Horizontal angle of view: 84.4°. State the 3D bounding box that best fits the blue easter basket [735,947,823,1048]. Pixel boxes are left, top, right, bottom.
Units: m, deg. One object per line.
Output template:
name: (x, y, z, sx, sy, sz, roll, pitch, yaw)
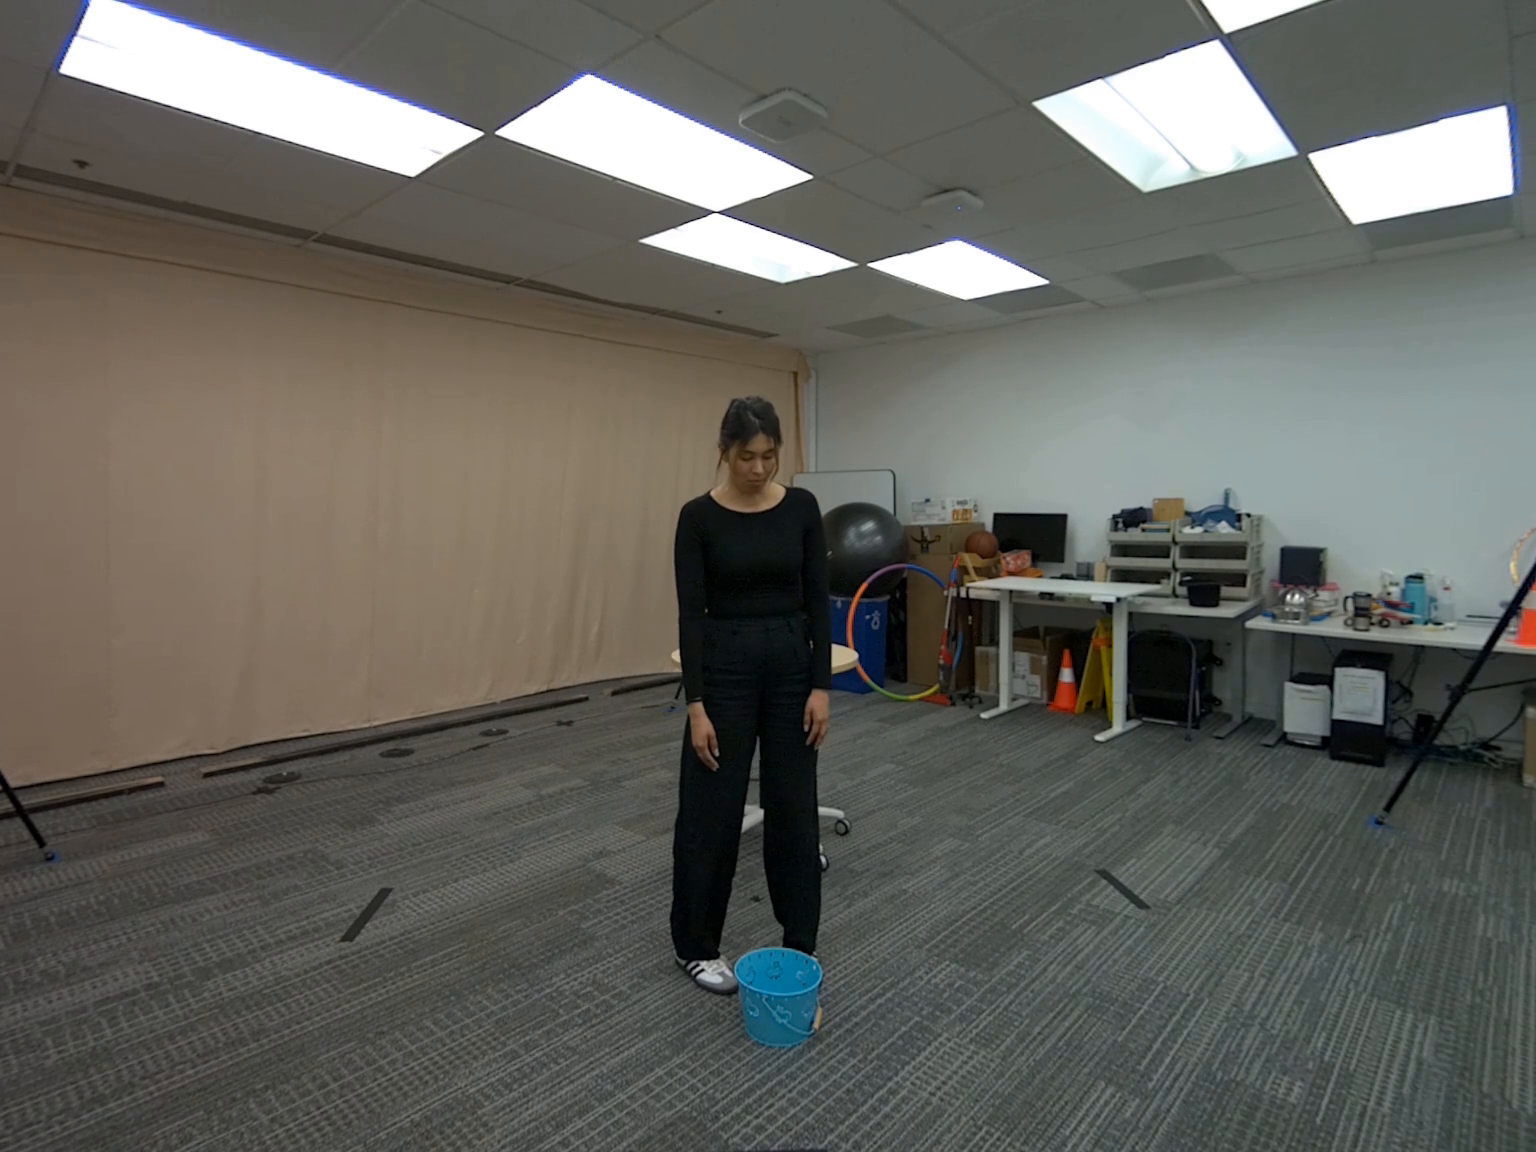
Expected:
blue easter basket: (0.029, 1.123, 2.254, 0.243, 0.155, 0.244, 0, 5, -2)
